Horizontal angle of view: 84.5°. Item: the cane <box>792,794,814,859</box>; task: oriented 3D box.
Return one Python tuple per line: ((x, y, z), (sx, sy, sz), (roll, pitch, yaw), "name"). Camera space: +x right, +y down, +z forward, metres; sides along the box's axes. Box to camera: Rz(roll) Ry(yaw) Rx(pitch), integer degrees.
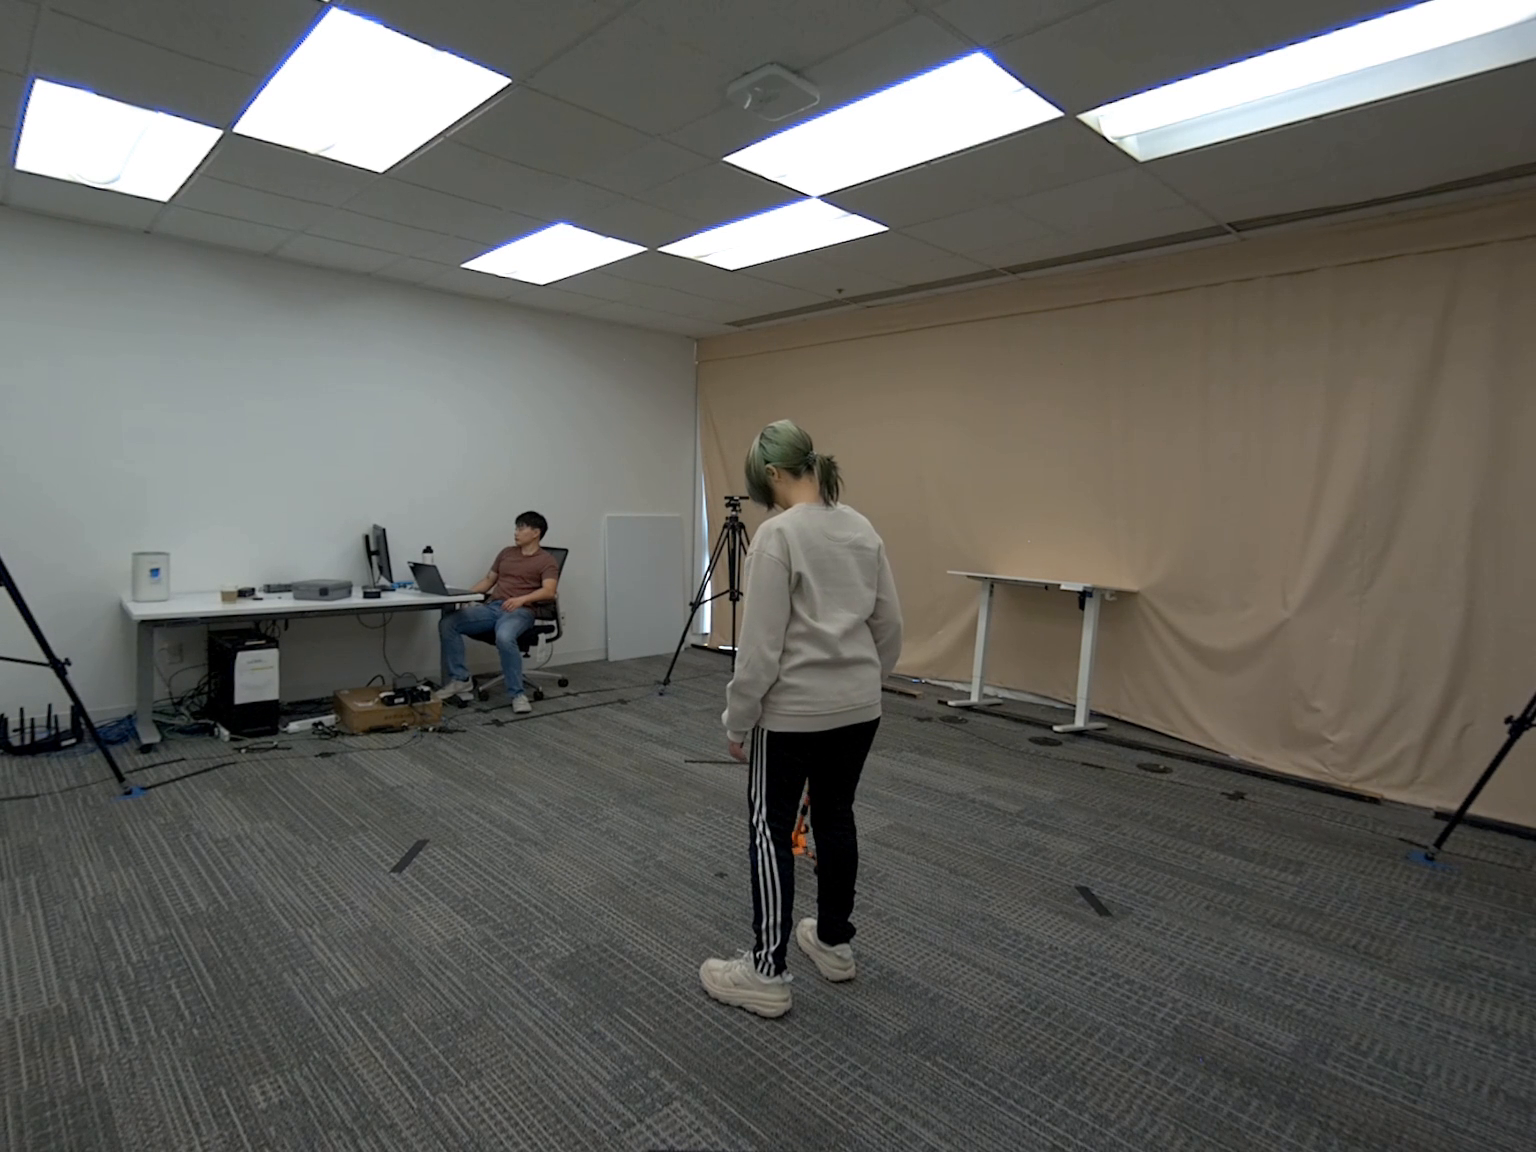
((0.178, 0.697, 2.940), (0.150, 0.893, 0.212), (1, 36, -15), "cane")
